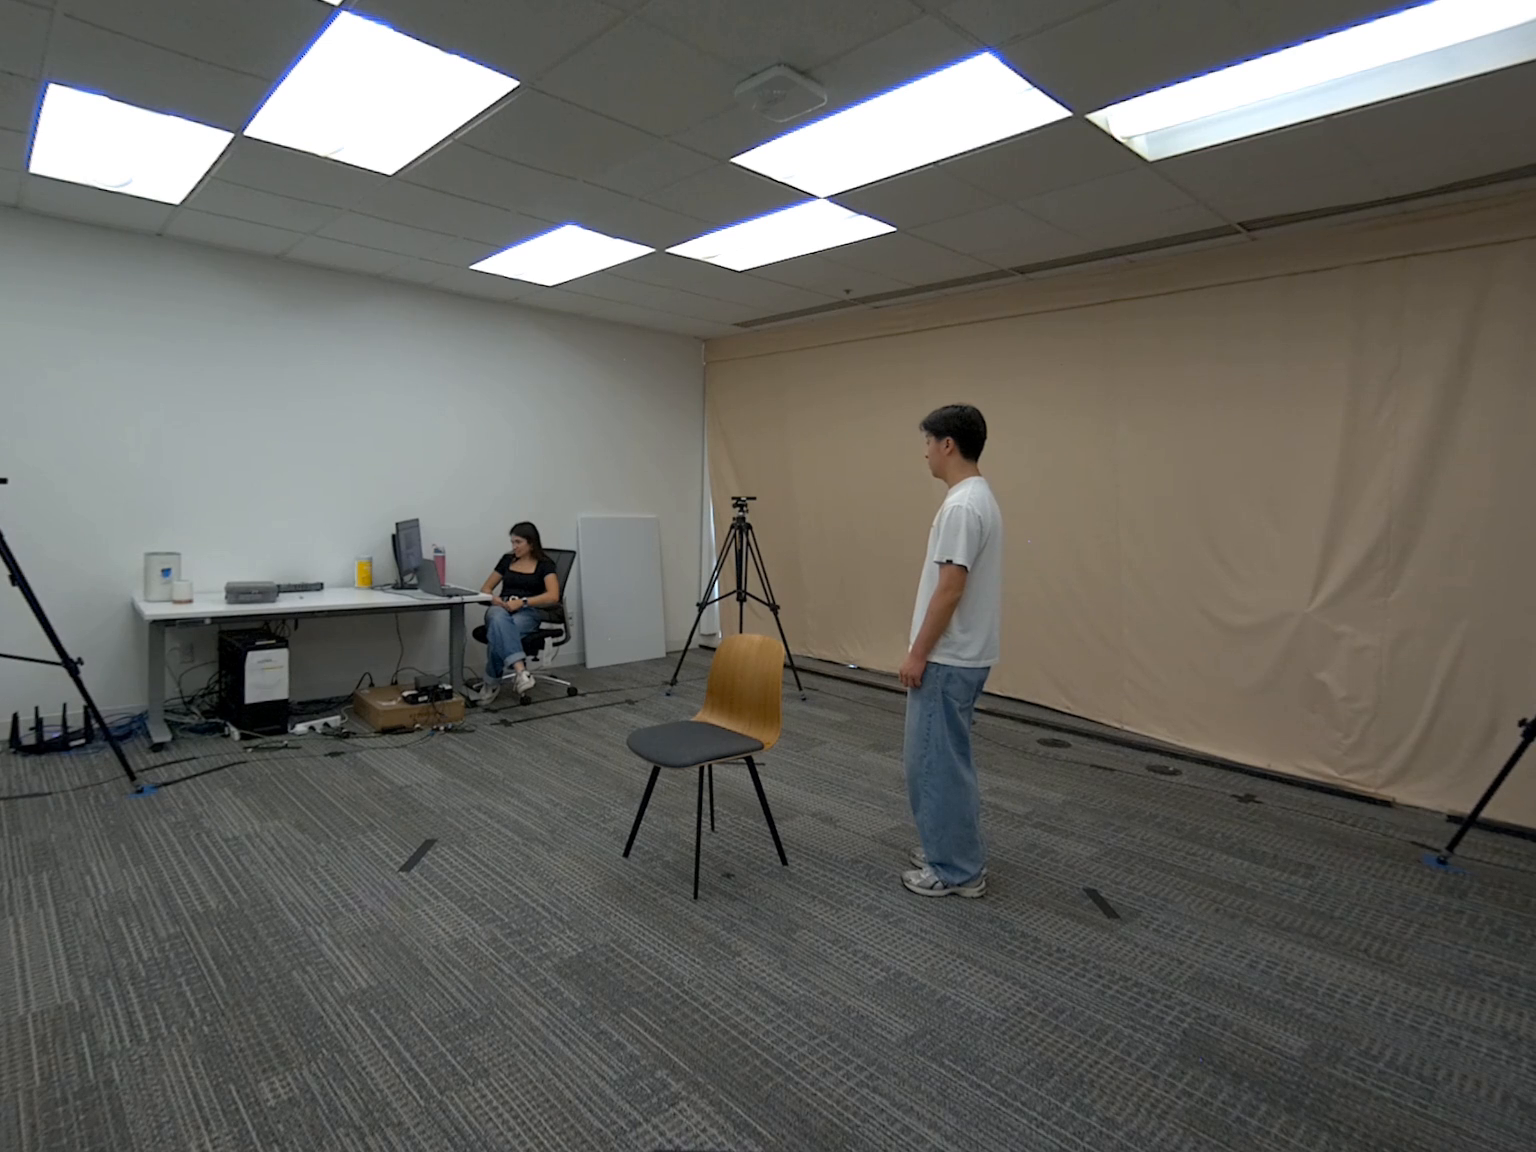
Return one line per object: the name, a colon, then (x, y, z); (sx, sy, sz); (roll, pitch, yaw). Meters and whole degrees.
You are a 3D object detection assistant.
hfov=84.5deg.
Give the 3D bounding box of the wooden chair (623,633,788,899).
wooden chair: (-0.240, 0.667, 3.190); (0.510, 0.877, 0.490); (5, 0, -43)
